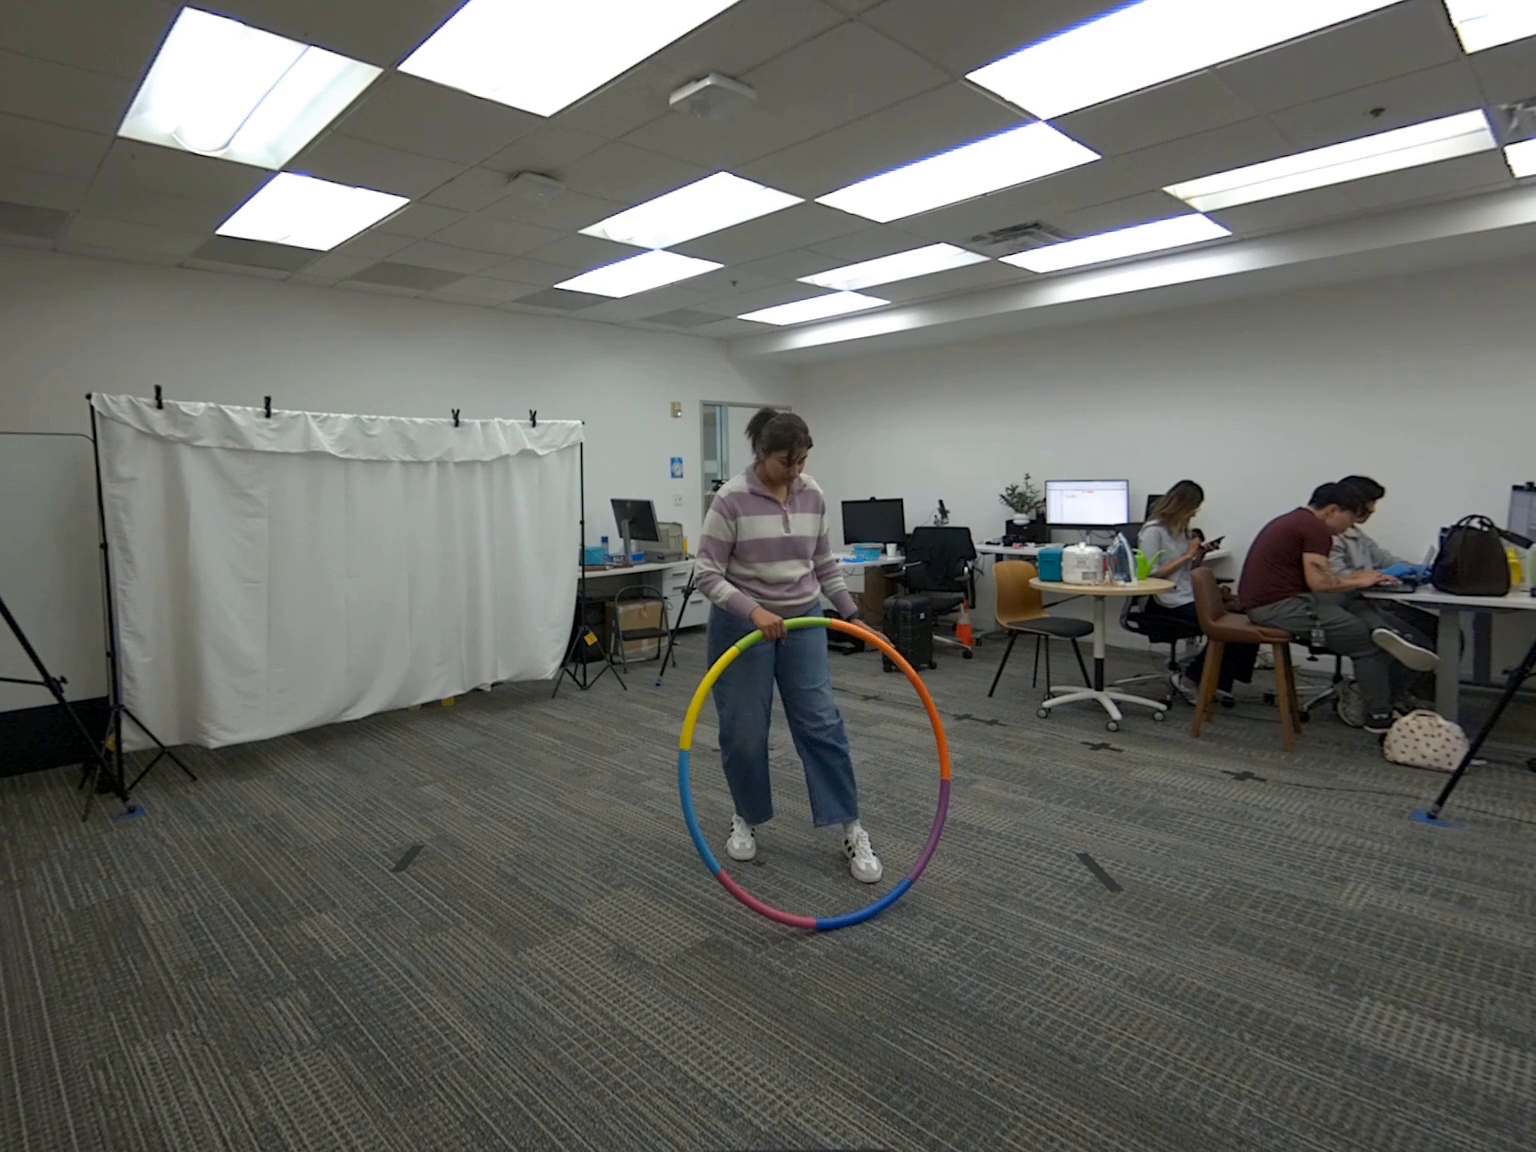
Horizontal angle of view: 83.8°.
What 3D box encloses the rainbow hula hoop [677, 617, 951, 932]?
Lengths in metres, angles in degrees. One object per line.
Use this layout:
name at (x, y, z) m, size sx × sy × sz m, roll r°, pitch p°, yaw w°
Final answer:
rainbow hula hoop at (0.179, 0.620, 2.778) m, size 0.965 × 0.999 × 0.052 m, roll -3°, pitch -15°, yaw -24°
